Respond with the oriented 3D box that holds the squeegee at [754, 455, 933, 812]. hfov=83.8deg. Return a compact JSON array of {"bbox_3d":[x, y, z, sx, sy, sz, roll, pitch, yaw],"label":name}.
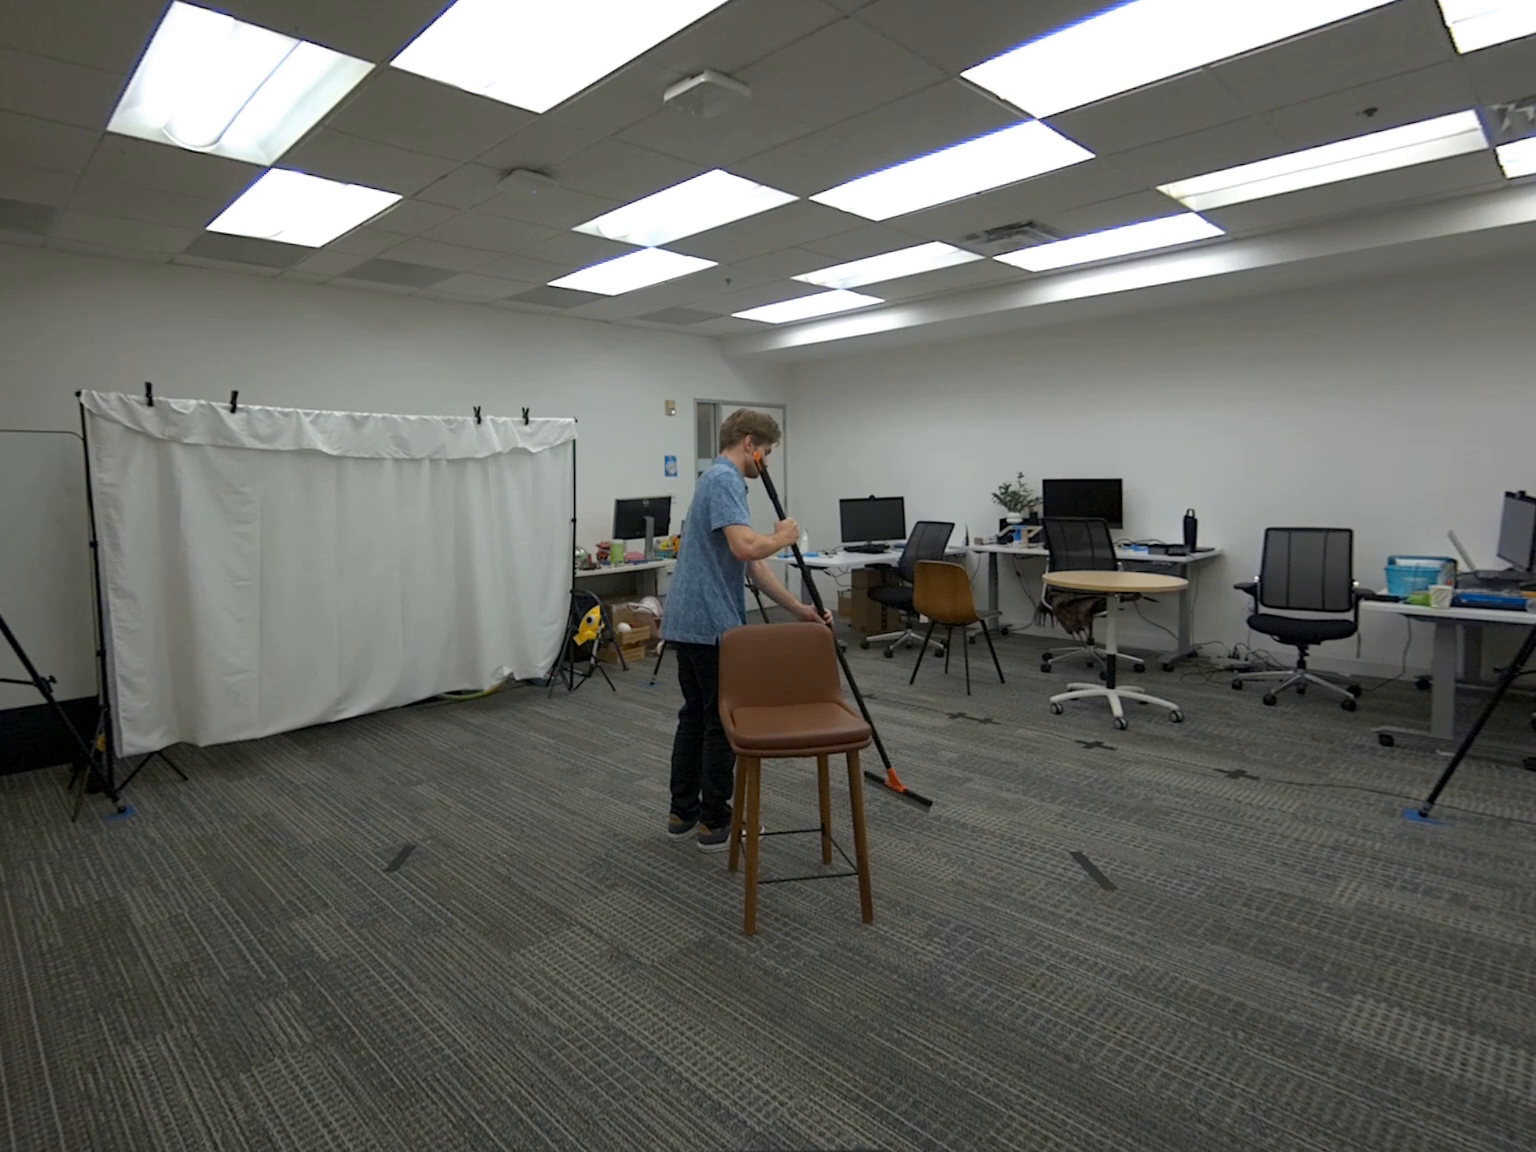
[{"bbox_3d":[0.255,0.212,3.383,0.052,1.514,0.448,-28,14,-24],"label":"squeegee"}]
